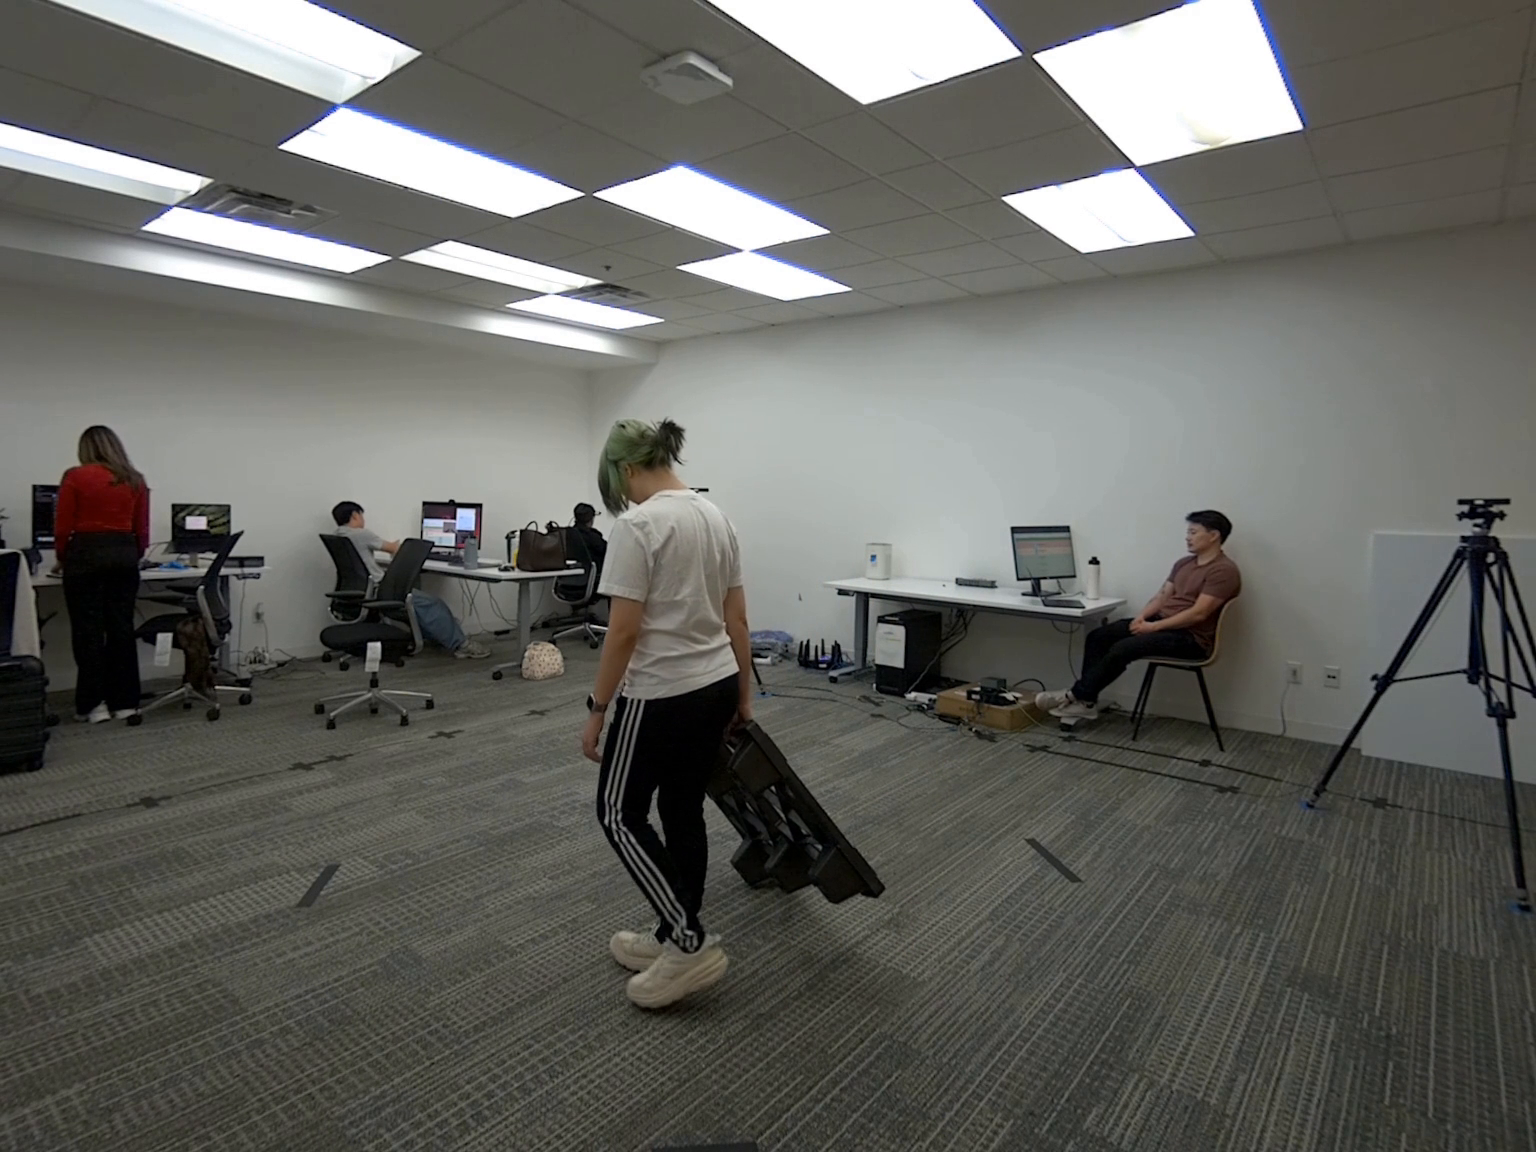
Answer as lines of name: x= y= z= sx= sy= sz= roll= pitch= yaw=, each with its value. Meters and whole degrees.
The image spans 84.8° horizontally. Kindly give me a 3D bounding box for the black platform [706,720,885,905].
black platform: x=-0.049 y=0.768 z=2.703 sx=0.142 sy=0.608 sz=0.808 roll=-35 pitch=-1 yaw=-25
